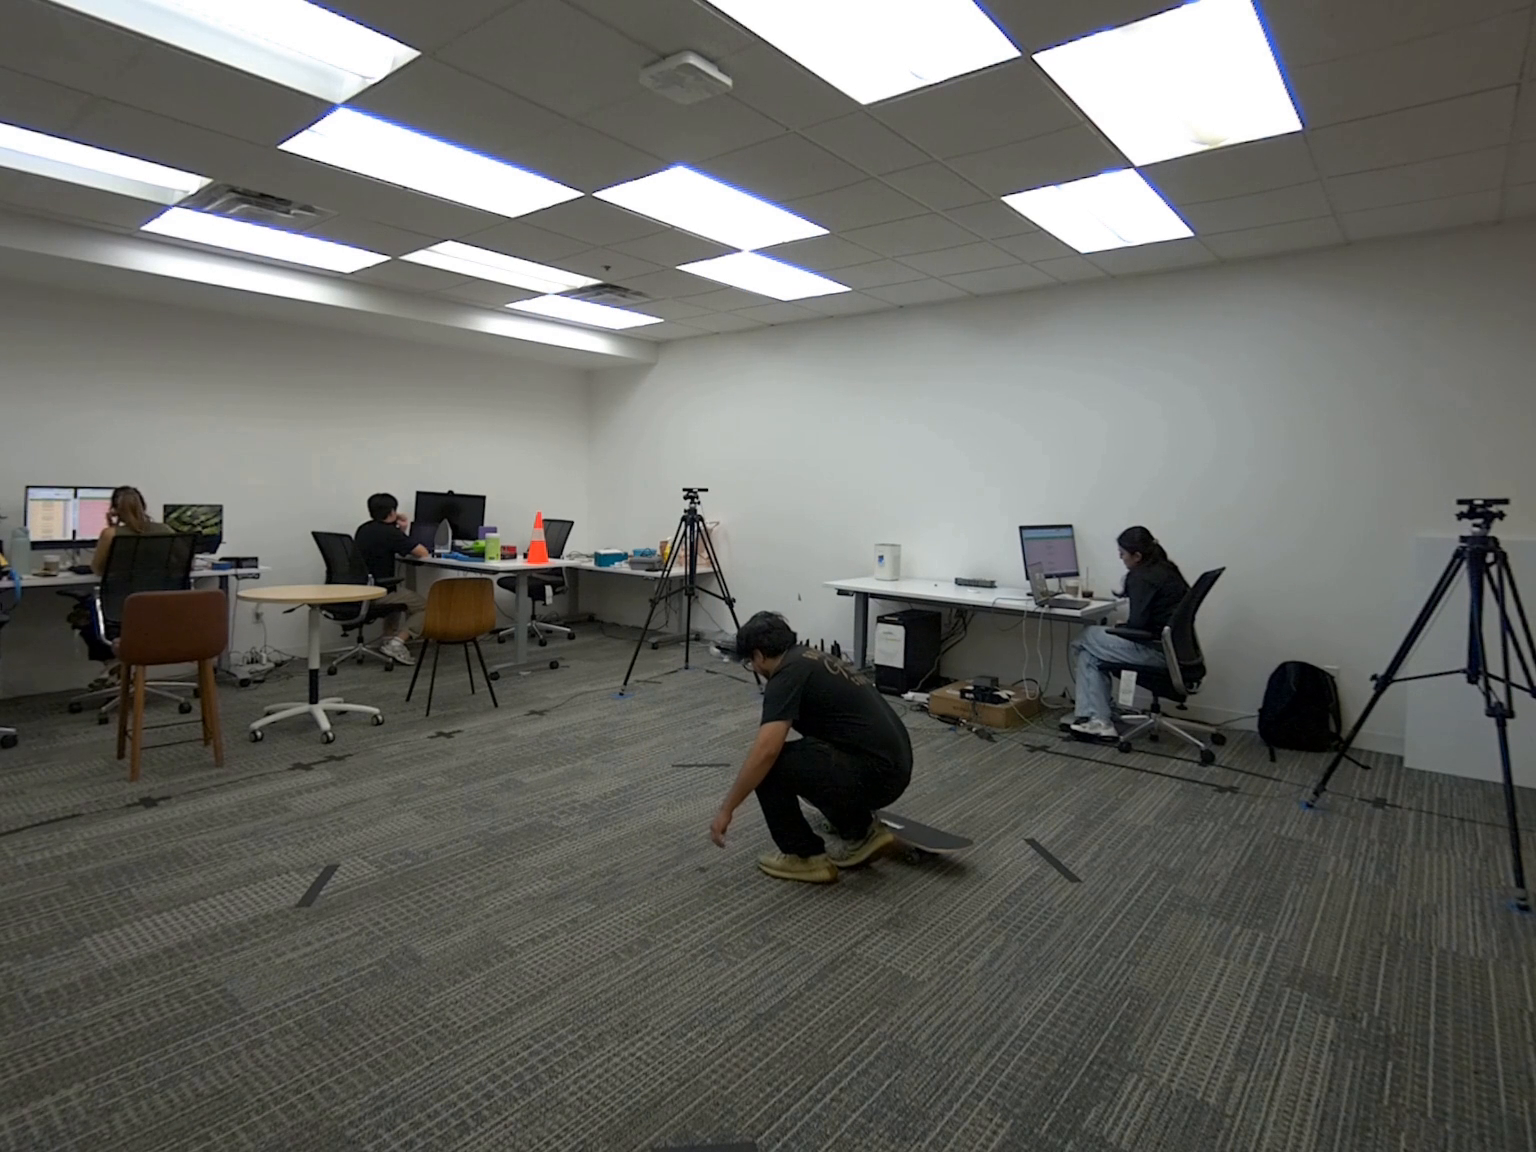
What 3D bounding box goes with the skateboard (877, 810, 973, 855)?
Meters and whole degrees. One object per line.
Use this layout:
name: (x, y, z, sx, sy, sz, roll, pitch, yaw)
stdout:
skateboard: (0.438, 0.998, 3.388, 0.813, 0.110, 0.187, 7, 7, 43)
